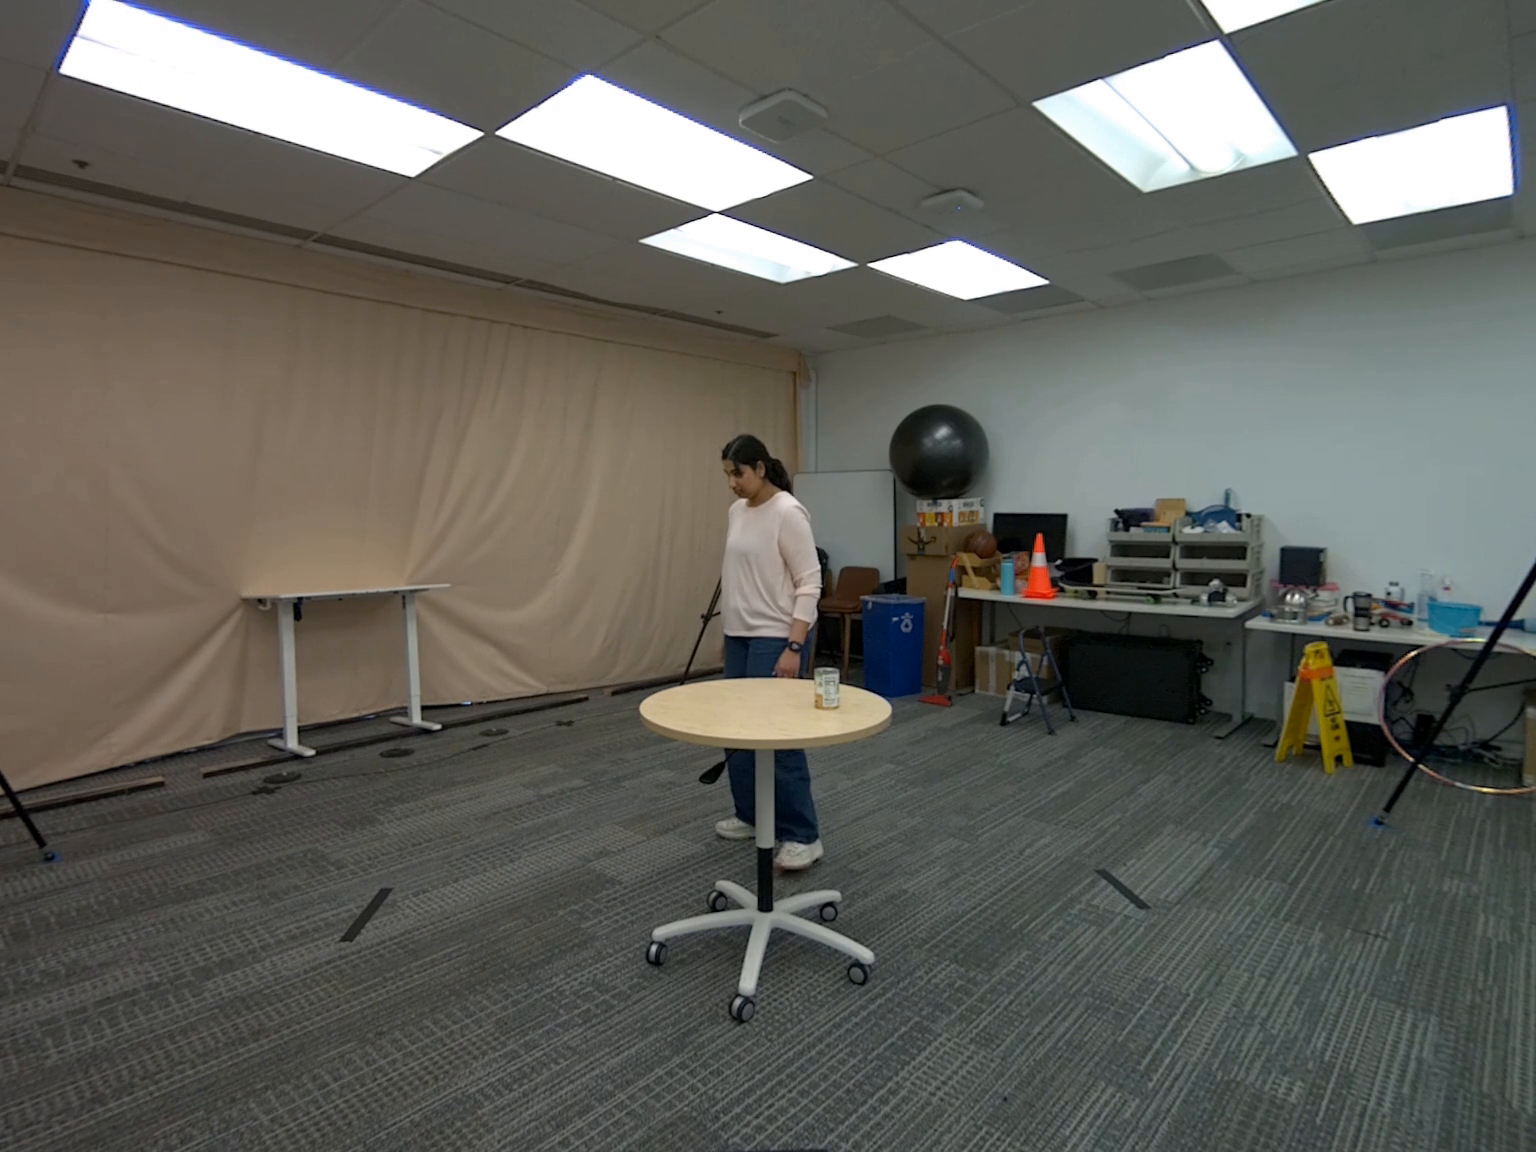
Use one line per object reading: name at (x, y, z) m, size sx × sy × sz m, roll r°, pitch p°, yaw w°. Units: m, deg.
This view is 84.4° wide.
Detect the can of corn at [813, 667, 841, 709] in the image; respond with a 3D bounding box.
can of corn at (0.184, 0.340, 2.543) m, size 0.074 × 0.110 × 0.074 m, roll -1°, pitch 5°, yaw -2°
